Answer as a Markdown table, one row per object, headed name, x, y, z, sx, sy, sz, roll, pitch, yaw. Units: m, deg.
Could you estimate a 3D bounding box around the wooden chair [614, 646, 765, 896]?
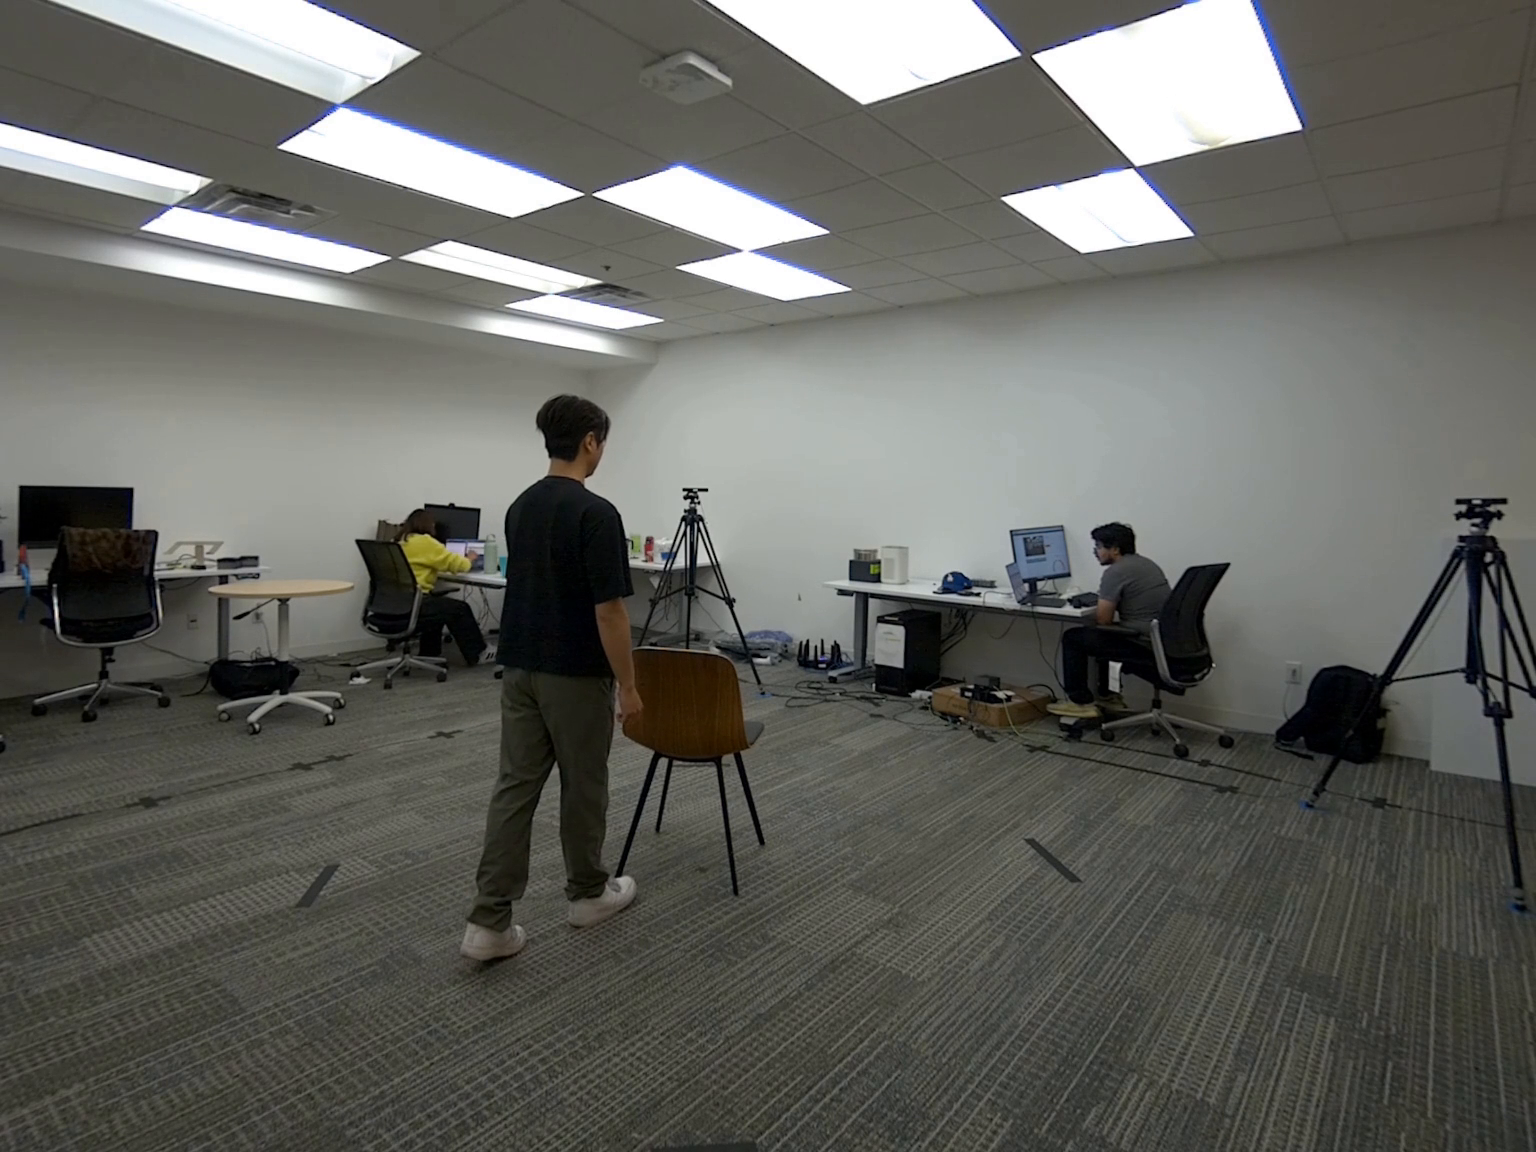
| name | x | y | z | sx | sy | sz | roll | pitch | yaw |
| --- | --- | --- | --- | --- | --- | --- | --- | --- | --- |
| wooden chair | -0.279 | 0.634 | 3.163 | 0.486 | 0.871 | 0.518 | 1 | 7 | 14 |
